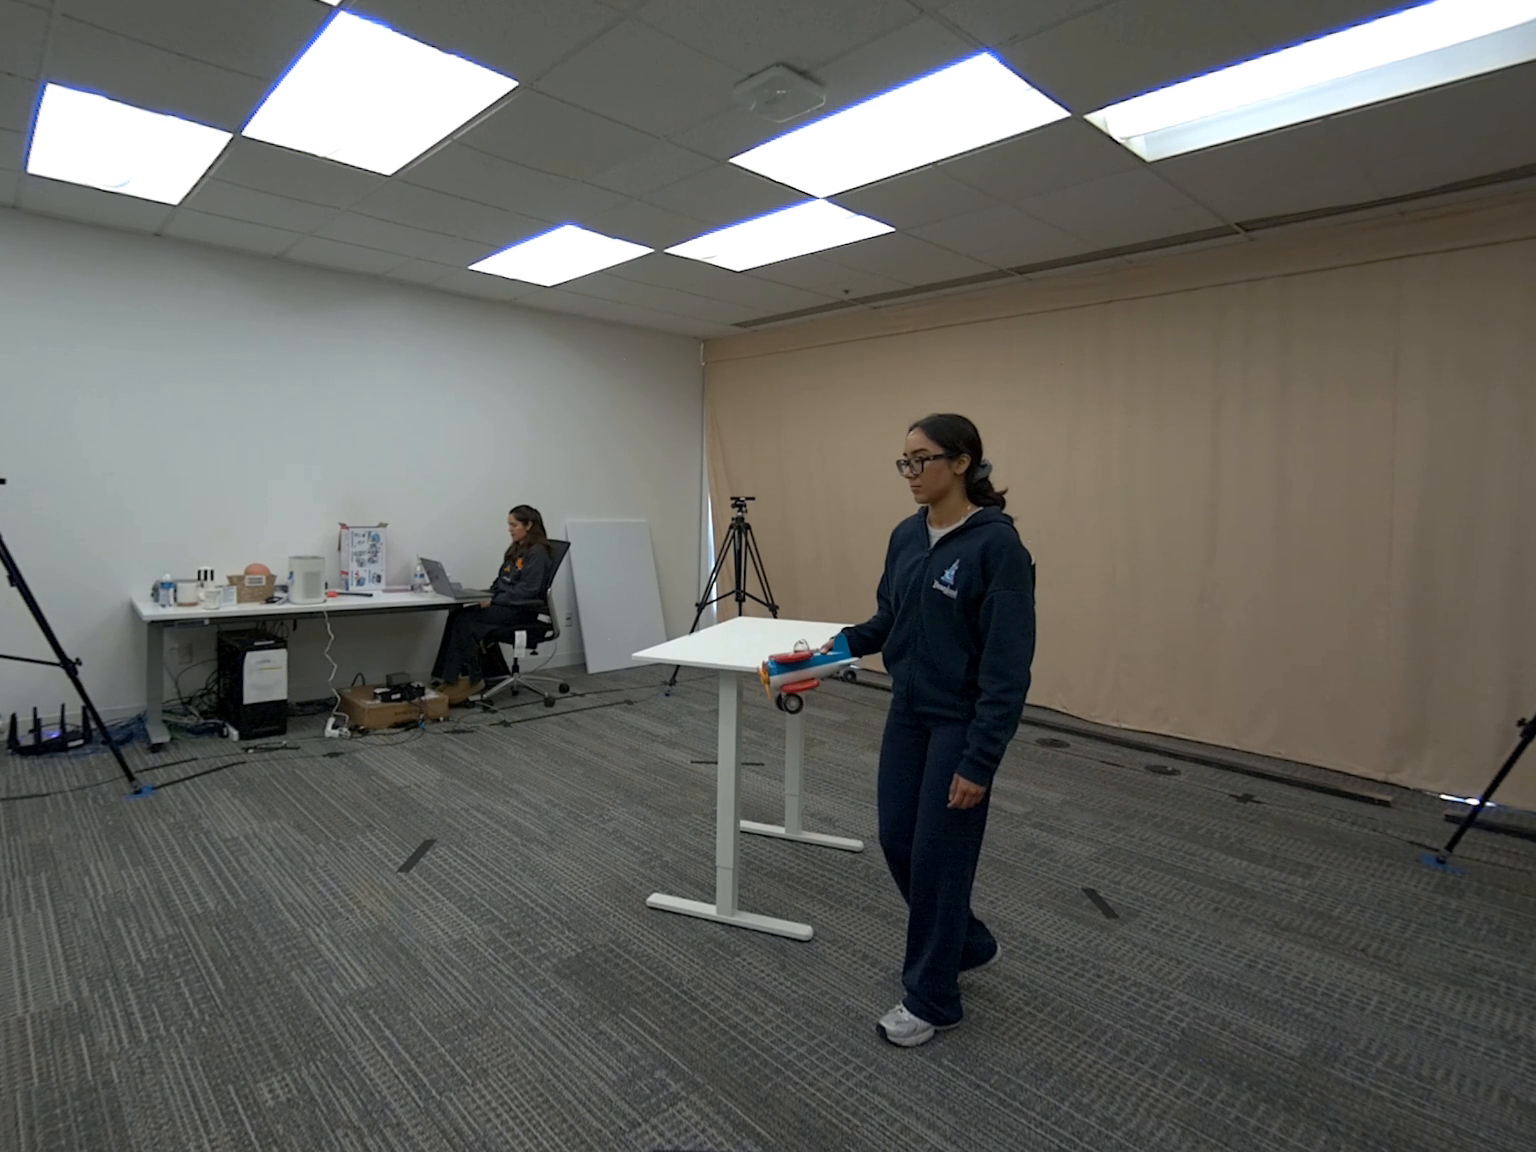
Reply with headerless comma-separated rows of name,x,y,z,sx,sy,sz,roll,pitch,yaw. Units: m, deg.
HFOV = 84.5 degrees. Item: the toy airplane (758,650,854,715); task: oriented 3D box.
toy airplane,0.108,0.265,2.291,0.256,0.156,0.254,-25,1,-41
